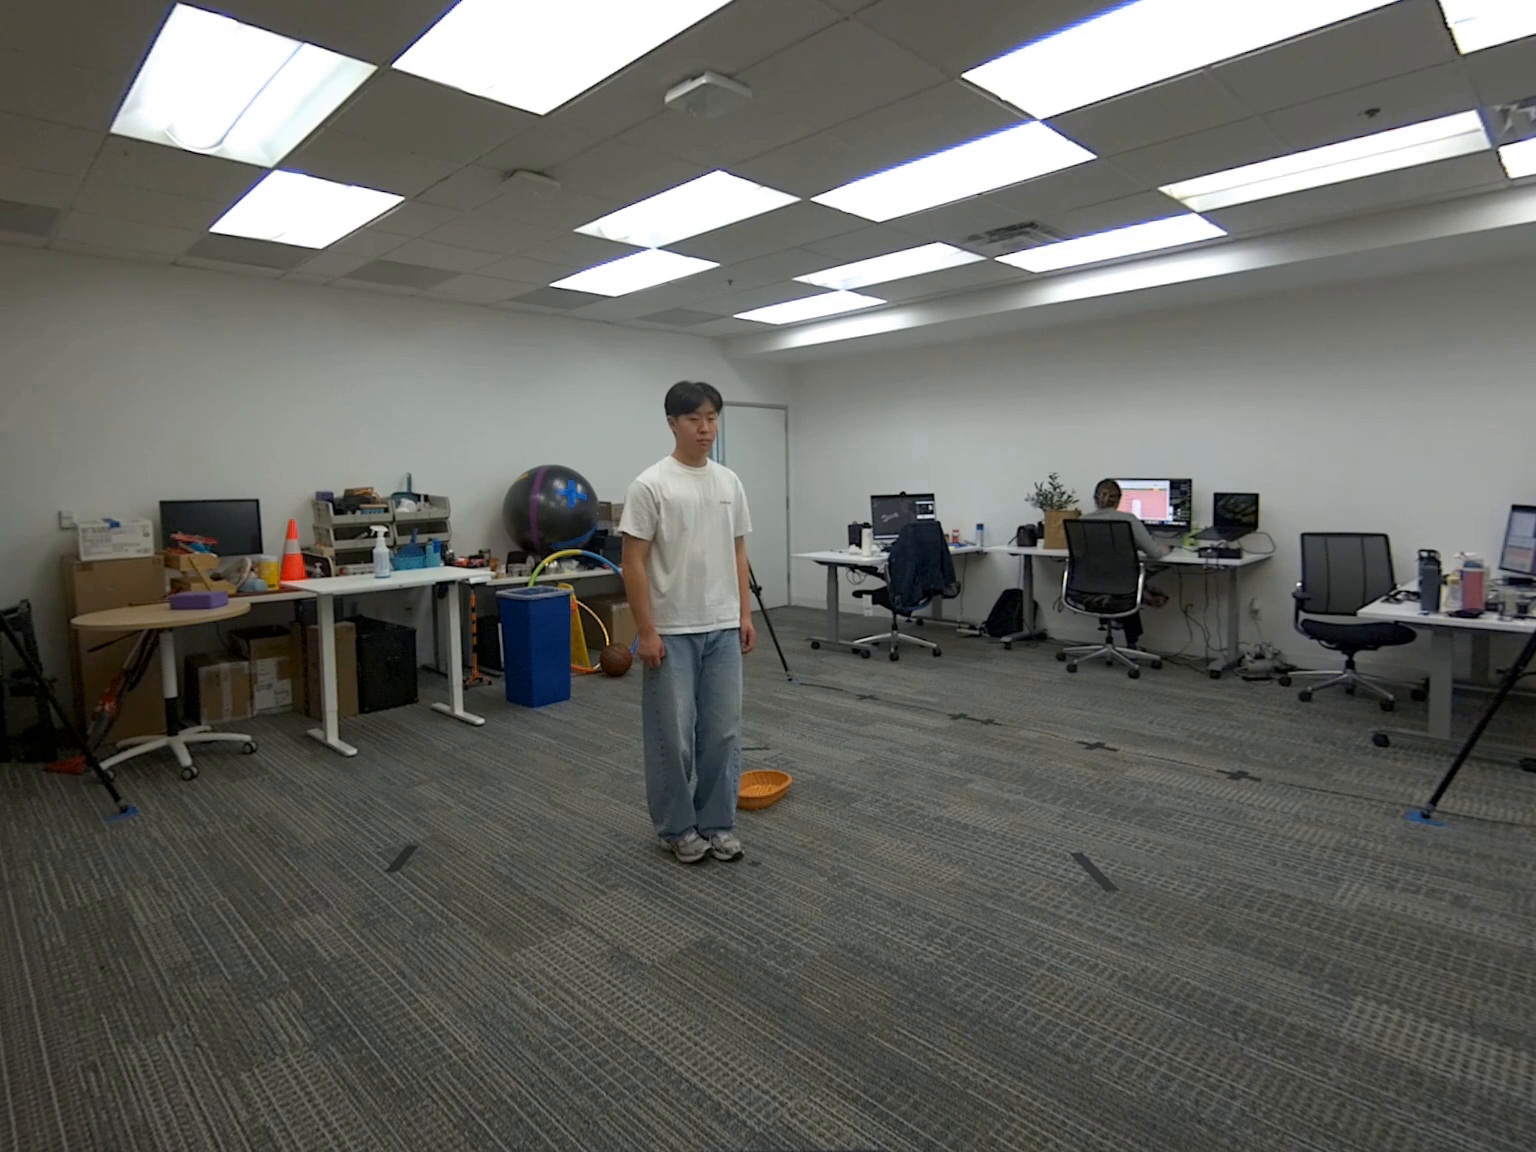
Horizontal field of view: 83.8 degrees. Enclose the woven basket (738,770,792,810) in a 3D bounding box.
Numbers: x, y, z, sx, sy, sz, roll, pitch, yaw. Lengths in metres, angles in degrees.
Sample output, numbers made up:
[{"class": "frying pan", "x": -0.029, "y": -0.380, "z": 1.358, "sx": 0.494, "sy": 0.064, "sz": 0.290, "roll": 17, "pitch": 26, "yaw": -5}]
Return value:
[{"class": "woven basket", "x": -0.042, "y": 0.934, "z": 3.742, "sx": 0.259, "sy": 0.073, "sz": 0.342, "roll": 3, "pitch": 8, "yaw": 34}]
